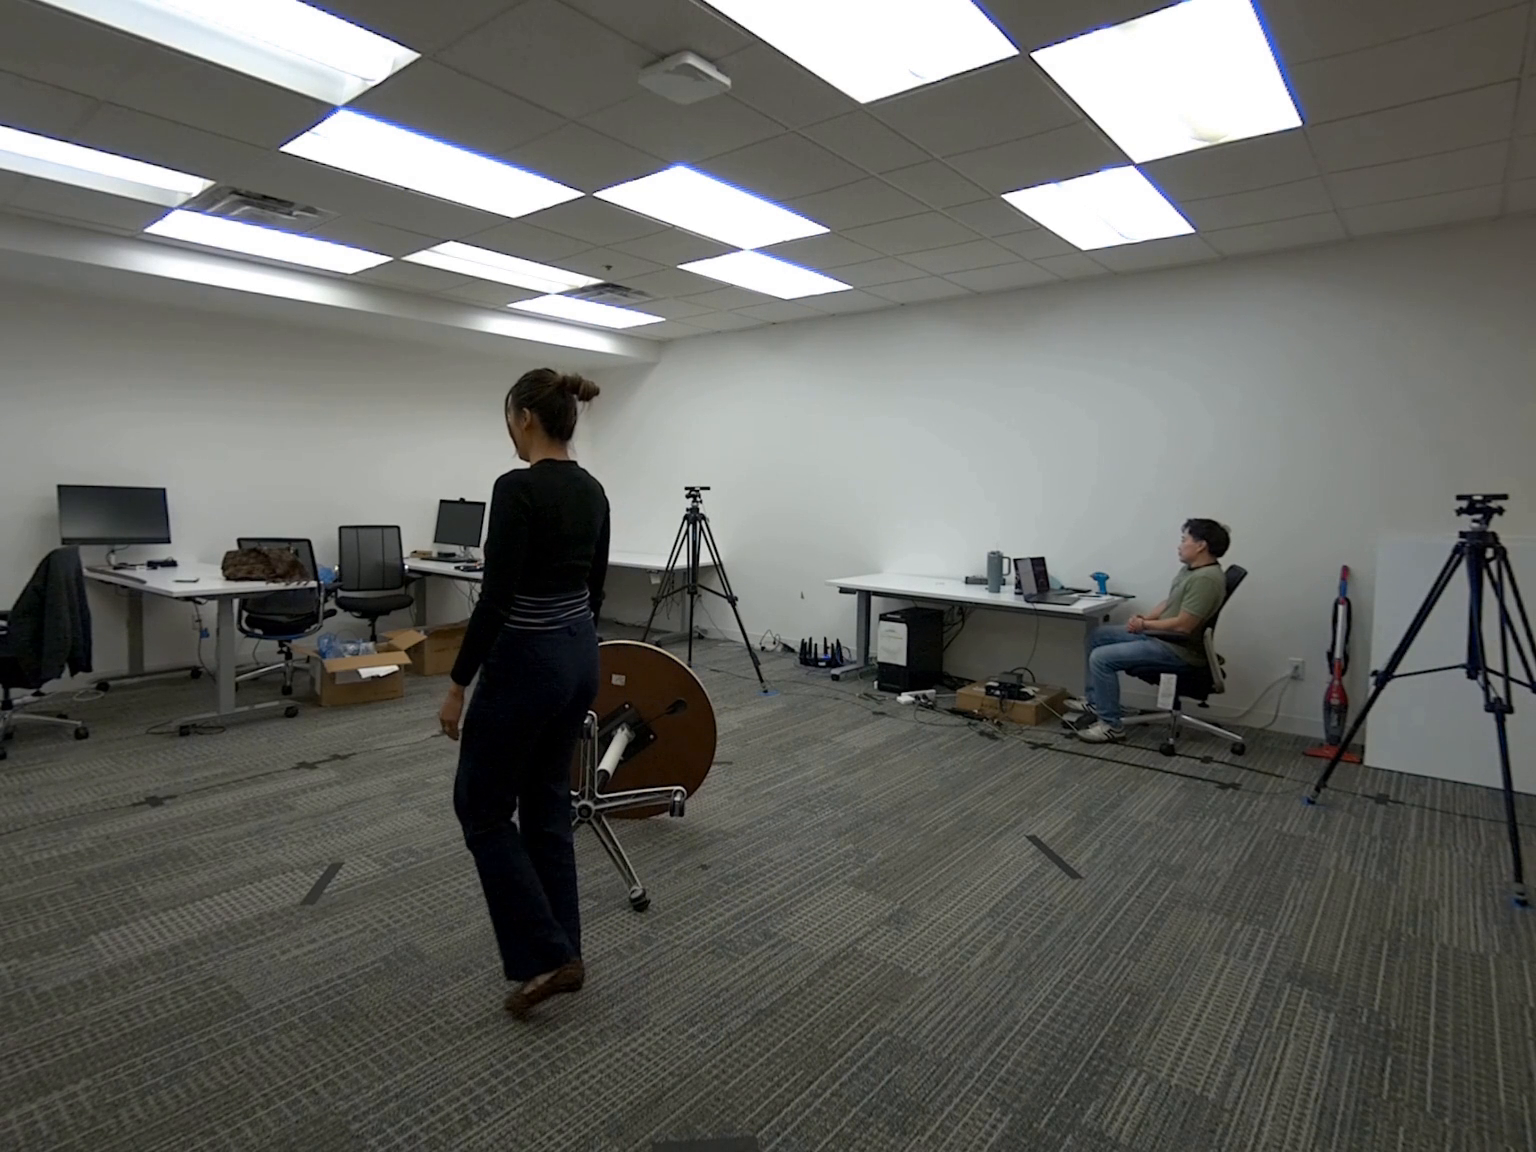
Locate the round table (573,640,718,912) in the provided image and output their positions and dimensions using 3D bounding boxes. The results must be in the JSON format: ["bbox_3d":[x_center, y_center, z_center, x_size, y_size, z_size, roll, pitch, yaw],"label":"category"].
[{"bbox_3d":[-0.610,0.719,3.133,0.768,0.757,0.798,1,10,3],"label":"round table"}]
